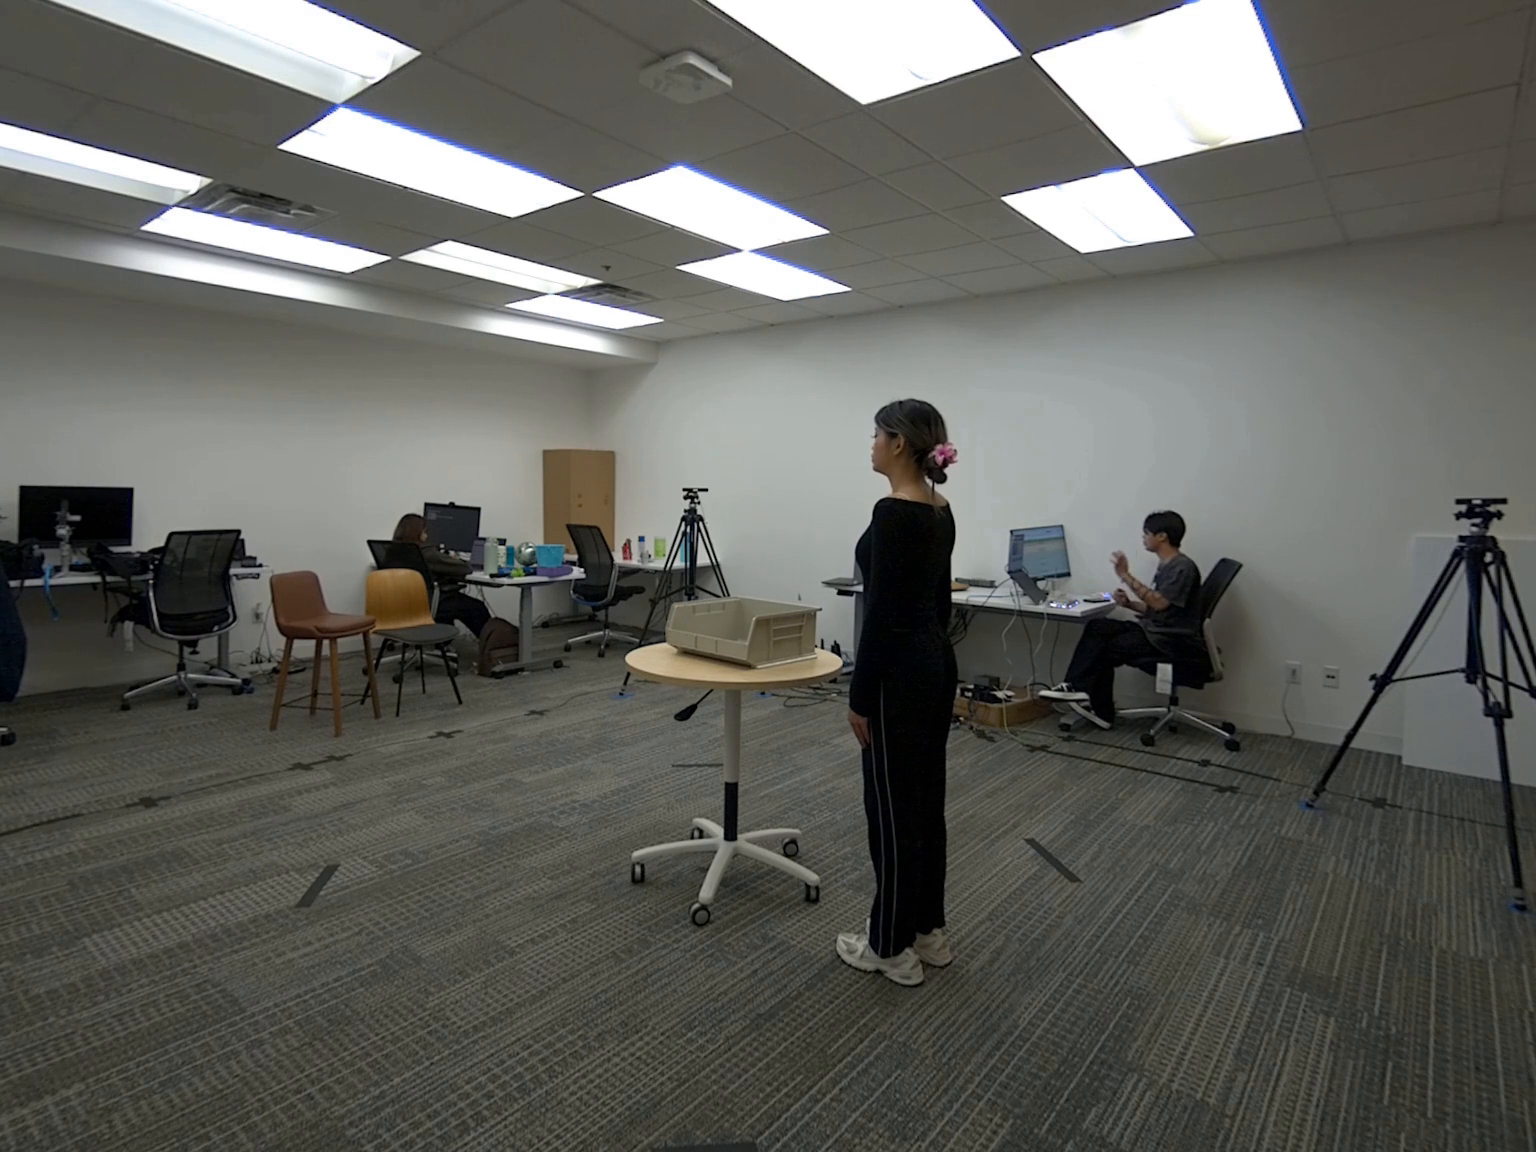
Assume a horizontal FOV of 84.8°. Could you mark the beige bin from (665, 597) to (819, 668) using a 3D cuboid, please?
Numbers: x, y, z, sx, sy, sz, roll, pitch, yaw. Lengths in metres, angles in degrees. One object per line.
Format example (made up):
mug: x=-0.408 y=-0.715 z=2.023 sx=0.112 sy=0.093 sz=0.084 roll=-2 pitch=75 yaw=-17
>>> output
beige bin: x=-0.098 y=0.196 z=3.052 sx=0.437 sy=0.188 sz=0.366 roll=5 pitch=5 yaw=44
